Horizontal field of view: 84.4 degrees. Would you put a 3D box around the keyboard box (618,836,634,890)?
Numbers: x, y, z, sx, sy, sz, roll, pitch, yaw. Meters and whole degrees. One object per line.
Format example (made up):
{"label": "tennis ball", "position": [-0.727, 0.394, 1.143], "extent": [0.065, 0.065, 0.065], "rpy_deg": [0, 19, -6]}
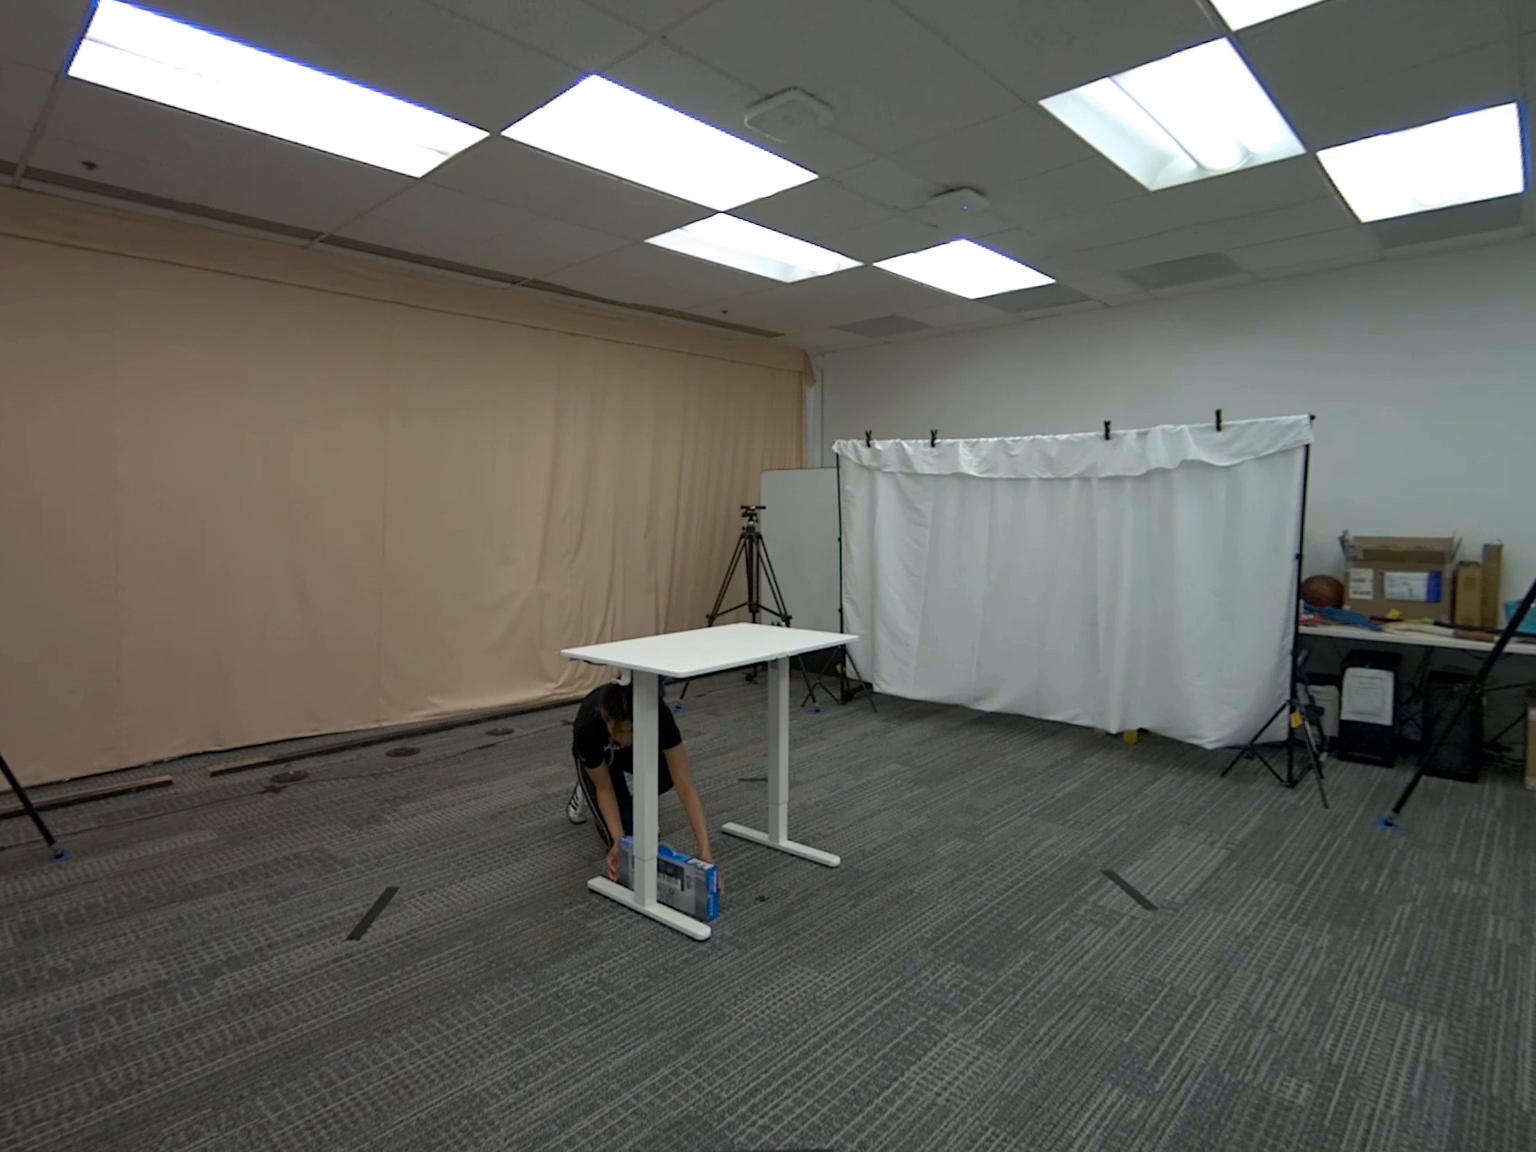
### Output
{"label": "keyboard box", "position": [-0.356, 1.062, 2.964], "extent": [0.451, 0.176, 0.057], "rpy_deg": [2, 2, 38]}
